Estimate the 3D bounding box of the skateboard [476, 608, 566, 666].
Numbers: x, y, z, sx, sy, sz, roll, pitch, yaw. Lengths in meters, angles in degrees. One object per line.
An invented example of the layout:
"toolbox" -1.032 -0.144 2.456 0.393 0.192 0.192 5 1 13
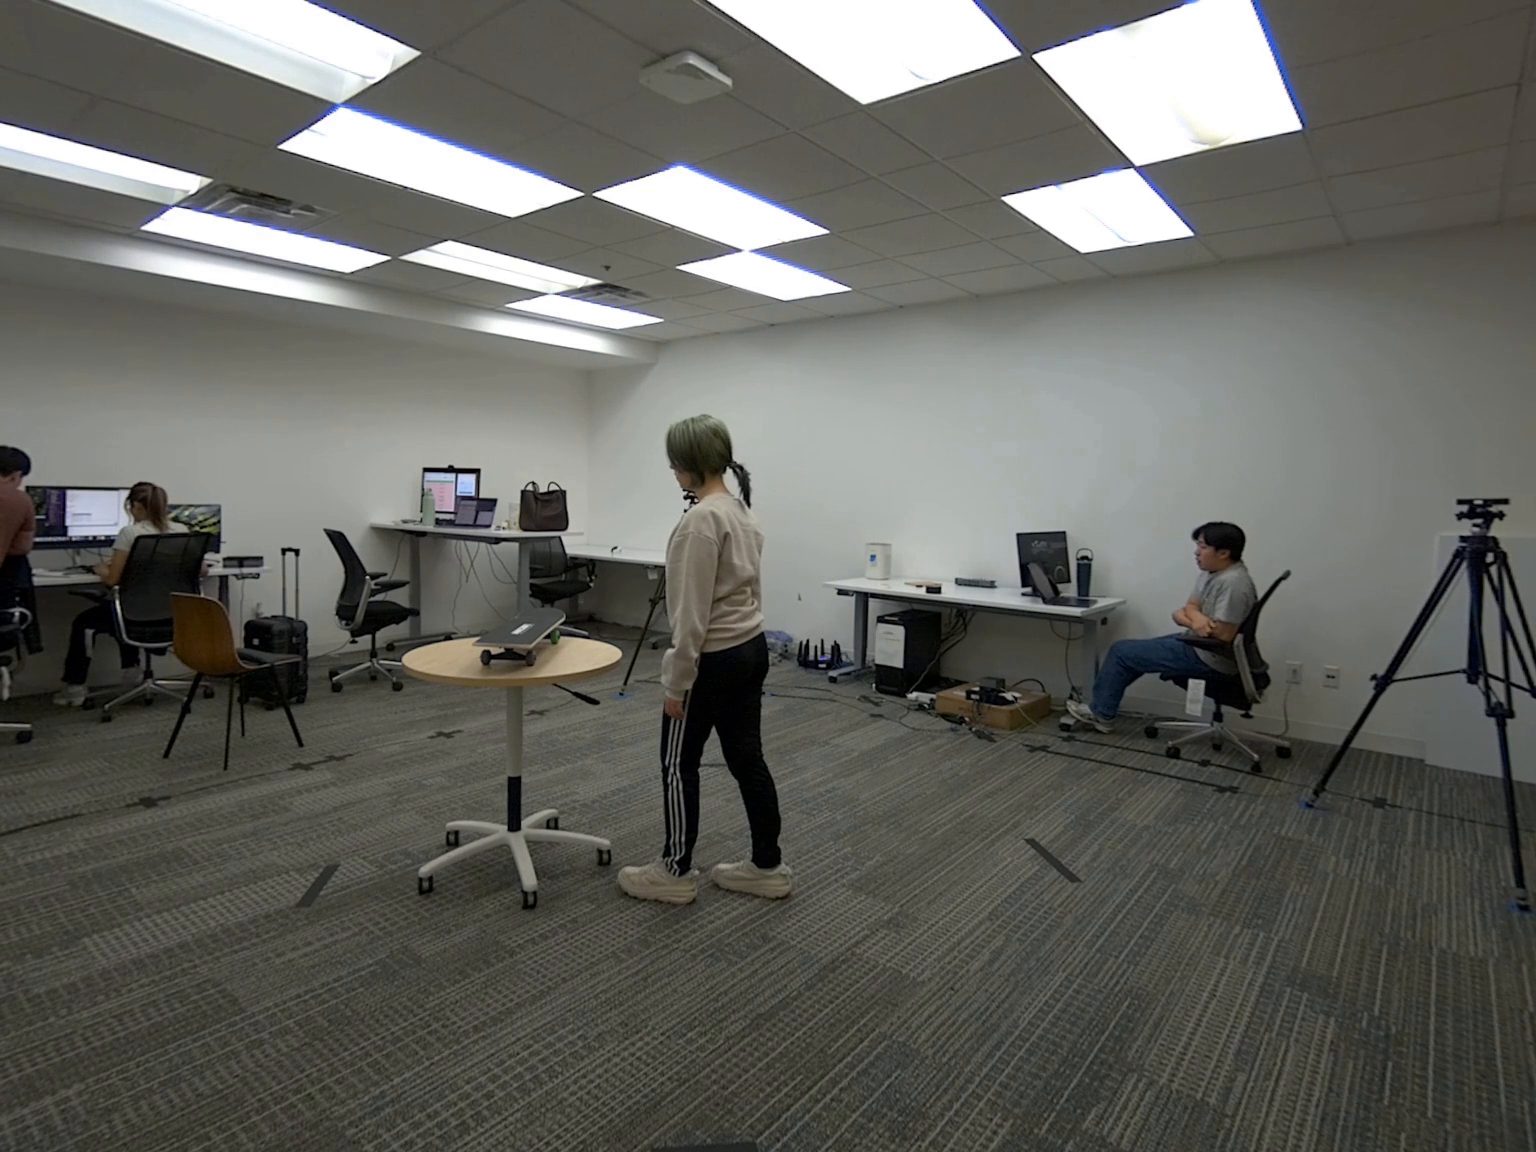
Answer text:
"skateboard" -0.904 0.233 3.069 0.193 0.110 0.790 2 6 -3
